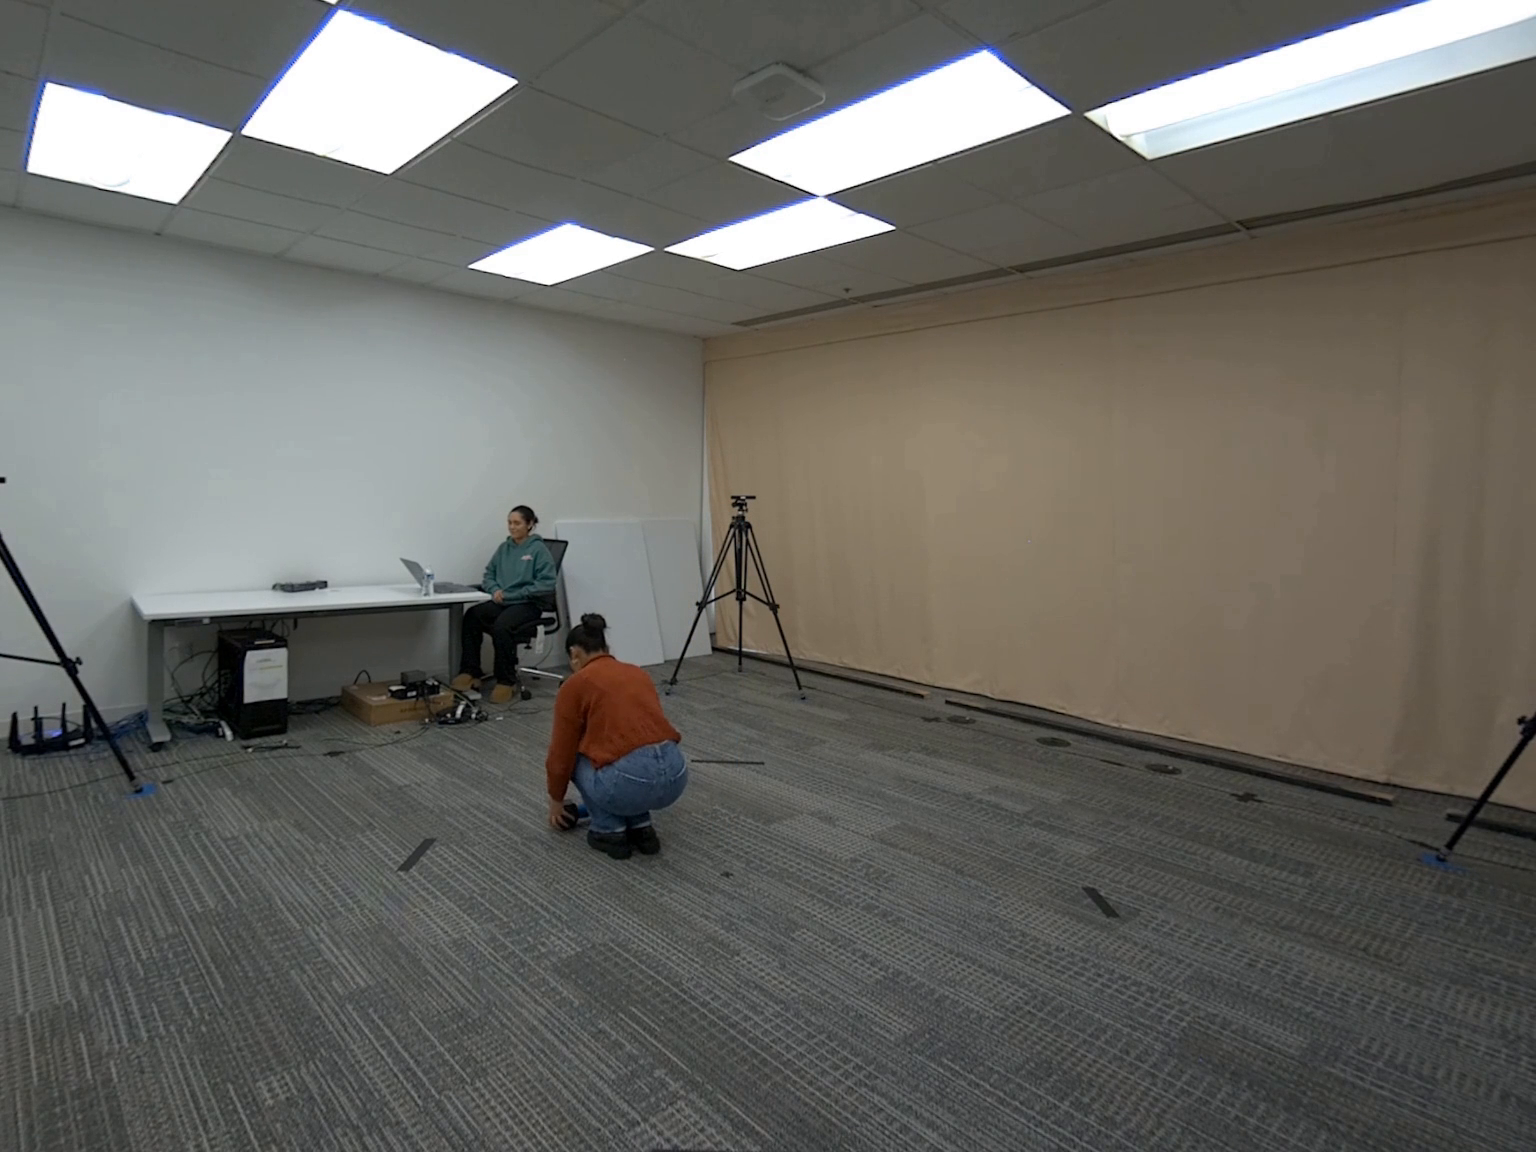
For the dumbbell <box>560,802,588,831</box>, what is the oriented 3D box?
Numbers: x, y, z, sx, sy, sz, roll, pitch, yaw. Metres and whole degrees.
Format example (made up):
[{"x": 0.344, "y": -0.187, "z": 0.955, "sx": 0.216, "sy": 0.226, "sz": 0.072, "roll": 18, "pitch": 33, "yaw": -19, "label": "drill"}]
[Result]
[{"x": -0.767, "y": 0.989, "z": 3.571, "sx": 0.287, "sy": 0.125, "sz": 0.109, "roll": -2, "pitch": -24, "yaw": -34, "label": "dumbbell"}]
